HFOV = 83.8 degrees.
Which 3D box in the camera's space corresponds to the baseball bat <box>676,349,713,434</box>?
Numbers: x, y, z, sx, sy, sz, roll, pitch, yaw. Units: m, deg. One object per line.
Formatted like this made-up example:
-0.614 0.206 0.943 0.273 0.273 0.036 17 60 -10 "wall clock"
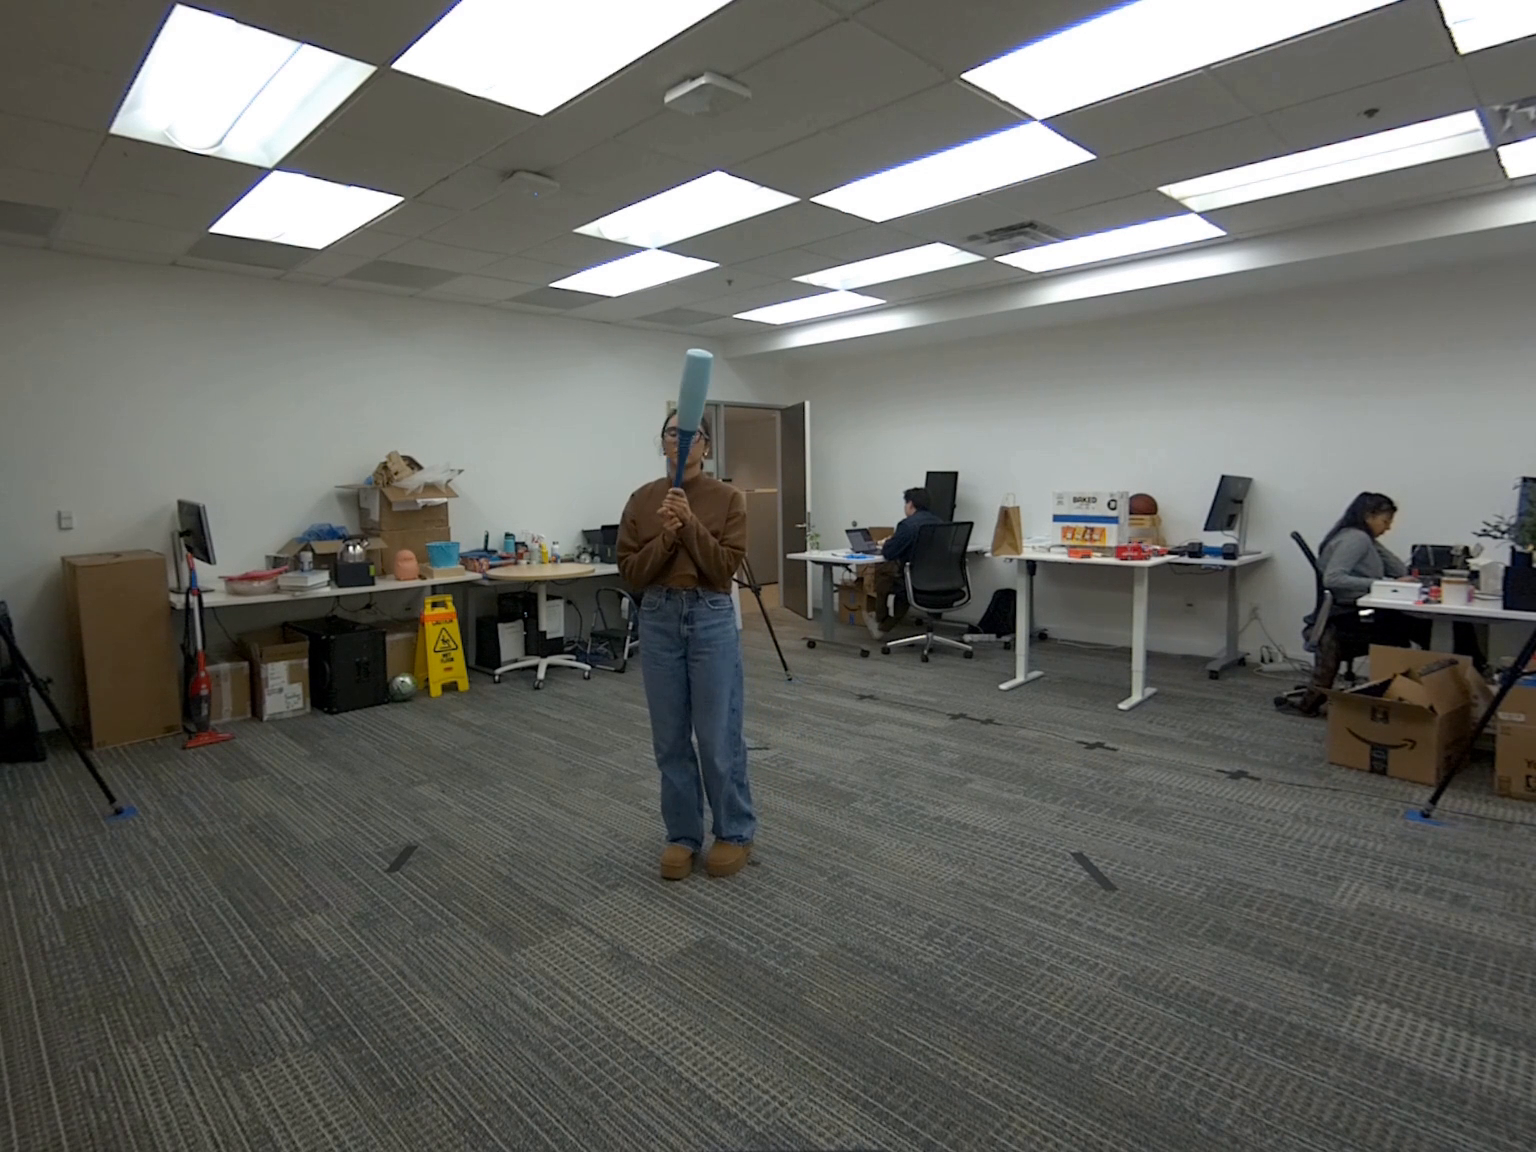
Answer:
-0.267 -0.465 2.751 0.088 0.534 0.091 9 25 -6 "baseball bat"
